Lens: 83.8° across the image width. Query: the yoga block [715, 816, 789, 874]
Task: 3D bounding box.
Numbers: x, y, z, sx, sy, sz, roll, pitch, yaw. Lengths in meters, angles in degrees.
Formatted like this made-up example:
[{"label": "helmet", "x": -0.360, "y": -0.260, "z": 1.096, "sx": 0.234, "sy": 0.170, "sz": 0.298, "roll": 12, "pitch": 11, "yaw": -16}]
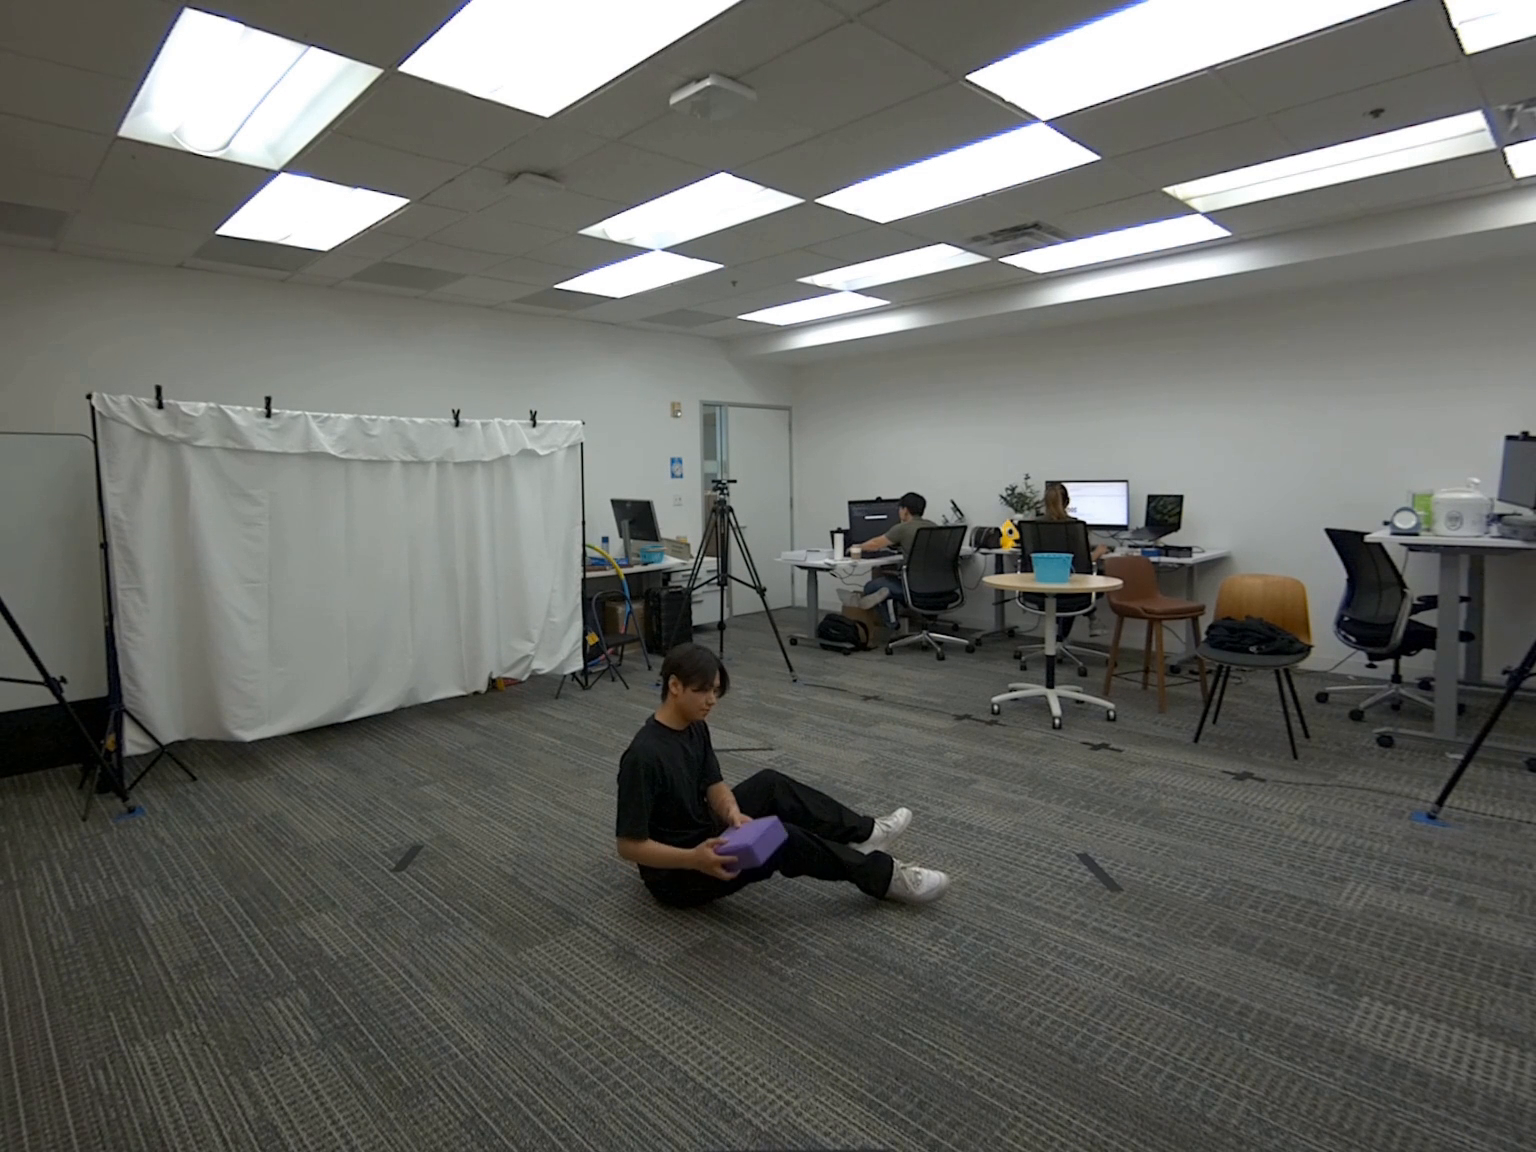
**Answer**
[{"label": "yoga block", "x": -0.065, "y": 0.807, "z": 2.542, "sx": 0.232, "sy": 0.076, "sz": 0.147, "roll": -28, "pitch": 2, "yaw": 41}]
